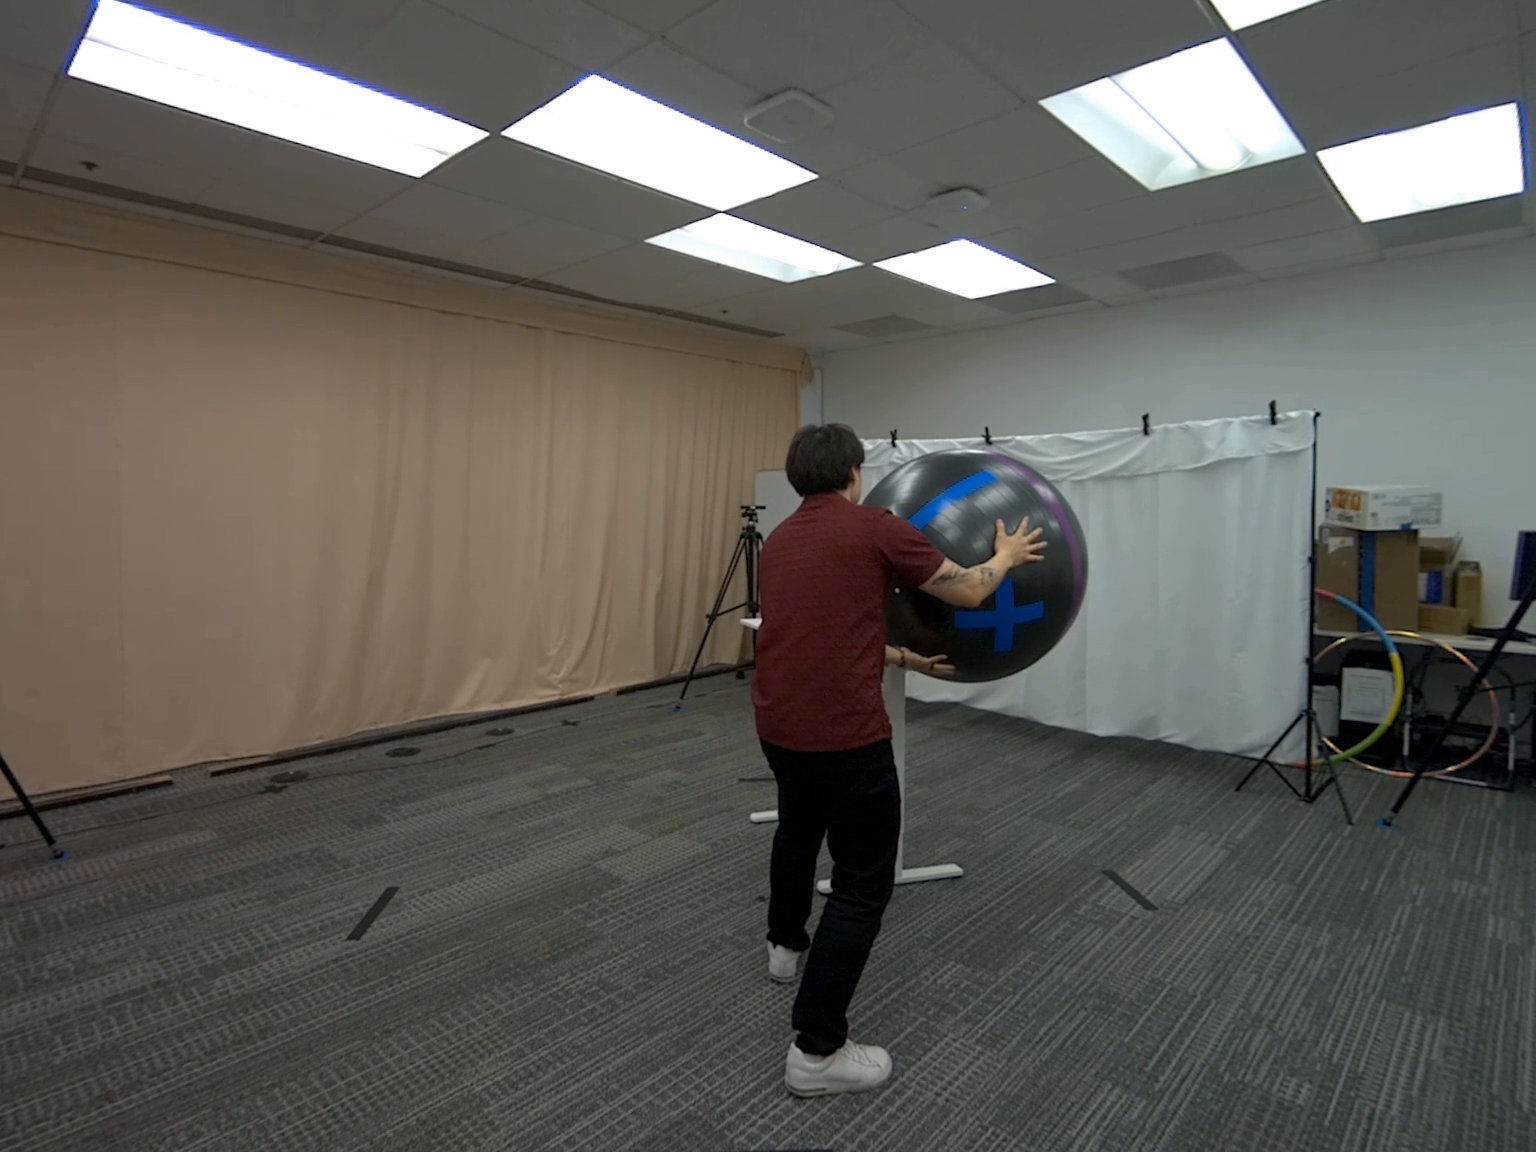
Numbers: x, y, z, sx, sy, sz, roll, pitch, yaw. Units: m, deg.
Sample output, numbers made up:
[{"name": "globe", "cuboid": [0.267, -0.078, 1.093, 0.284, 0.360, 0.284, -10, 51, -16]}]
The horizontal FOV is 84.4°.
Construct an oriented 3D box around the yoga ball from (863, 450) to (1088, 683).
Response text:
[{"name": "yoga ball", "cuboid": [0.647, -0.030, 2.760, 0.757, 0.756, 0.760, 0, 4, -2]}]
